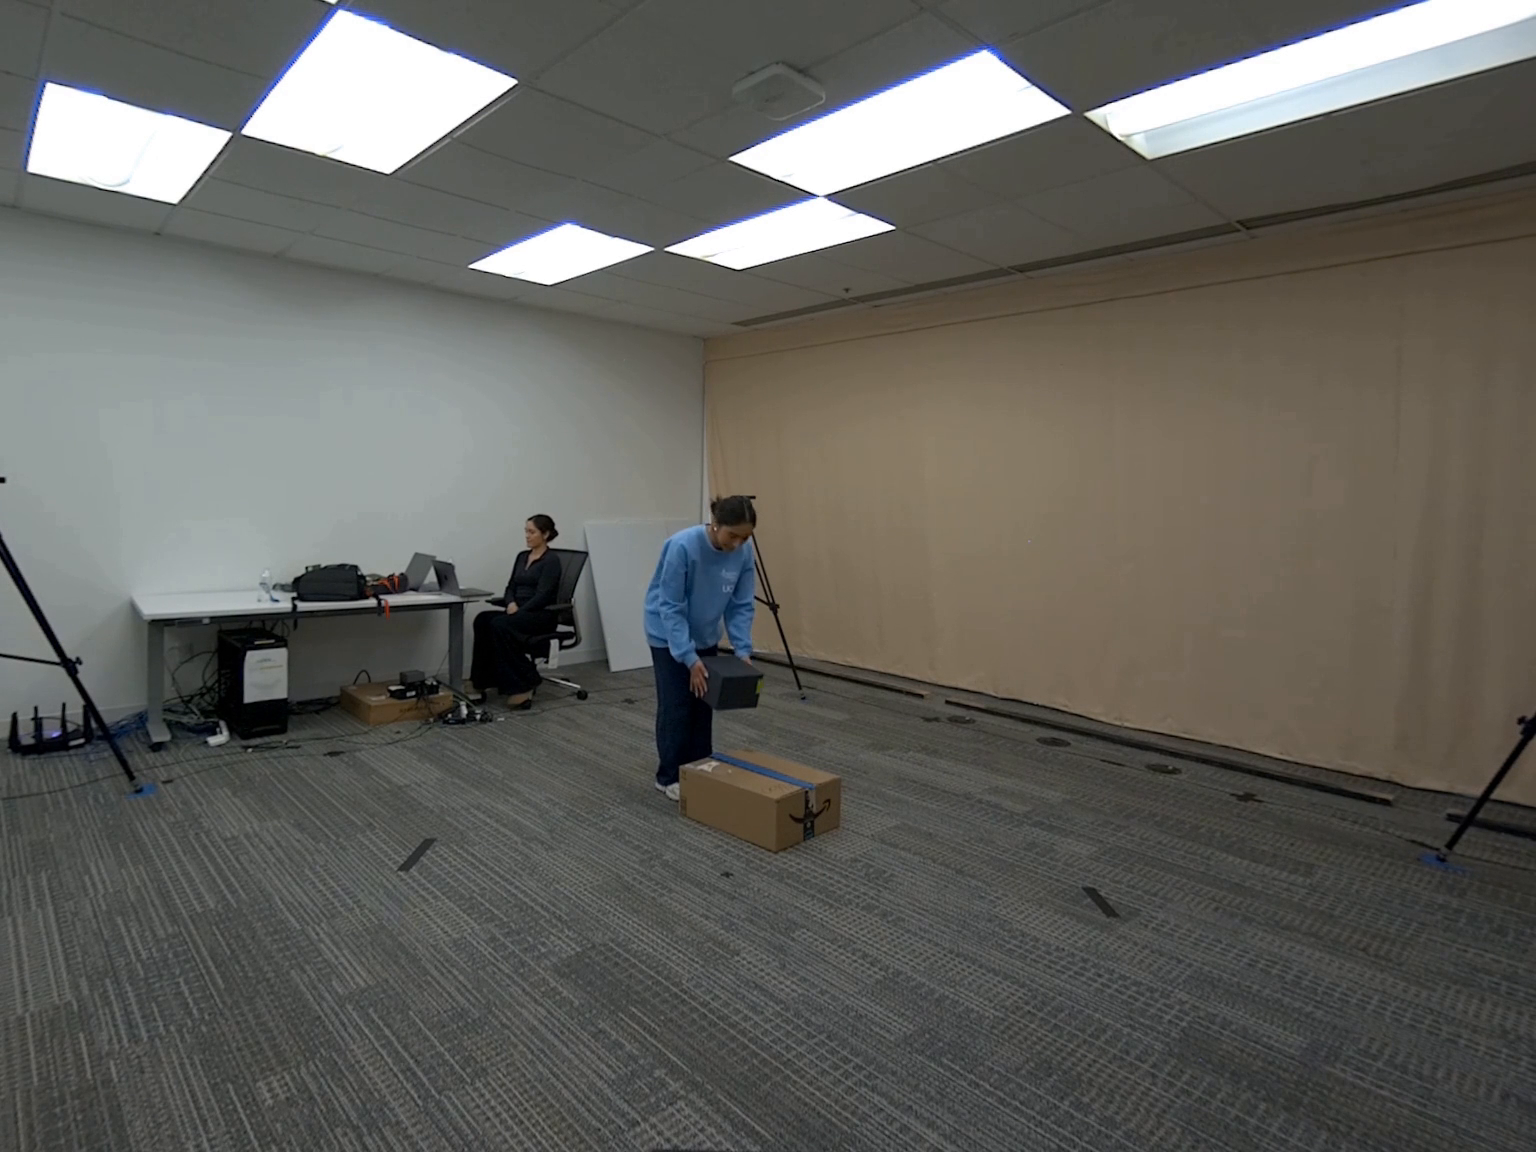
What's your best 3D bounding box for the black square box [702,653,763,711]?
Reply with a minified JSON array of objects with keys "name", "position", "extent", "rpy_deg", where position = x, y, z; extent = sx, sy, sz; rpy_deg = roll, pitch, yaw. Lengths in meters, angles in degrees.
[{"name":"black square box","position":[-0.183,0.461,3.658],"extent":[0.212,0.155,0.235],"rpy_deg":[3,14,-36]}]
